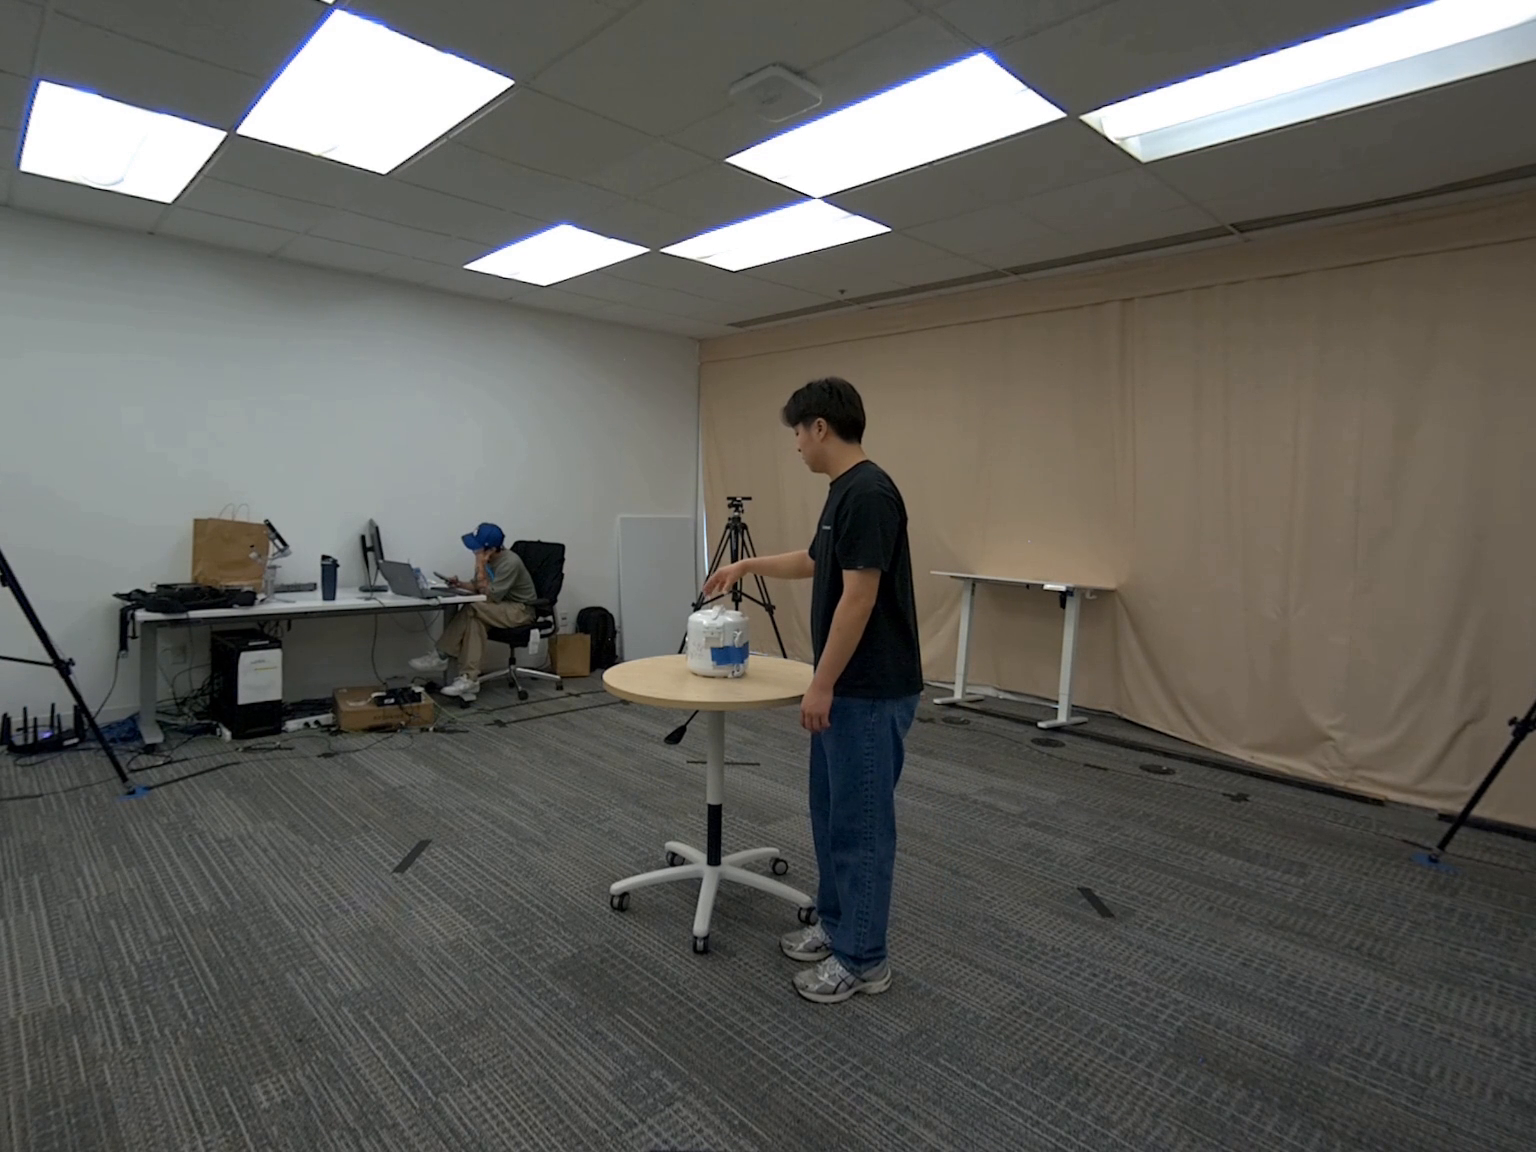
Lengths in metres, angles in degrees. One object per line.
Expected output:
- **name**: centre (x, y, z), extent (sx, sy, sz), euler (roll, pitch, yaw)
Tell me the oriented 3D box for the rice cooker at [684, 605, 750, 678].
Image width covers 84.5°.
- **rice cooker**: centre (-0.172, 0.216, 2.862), extent (0.219, 0.232, 0.219), euler (2, 5, 9)
